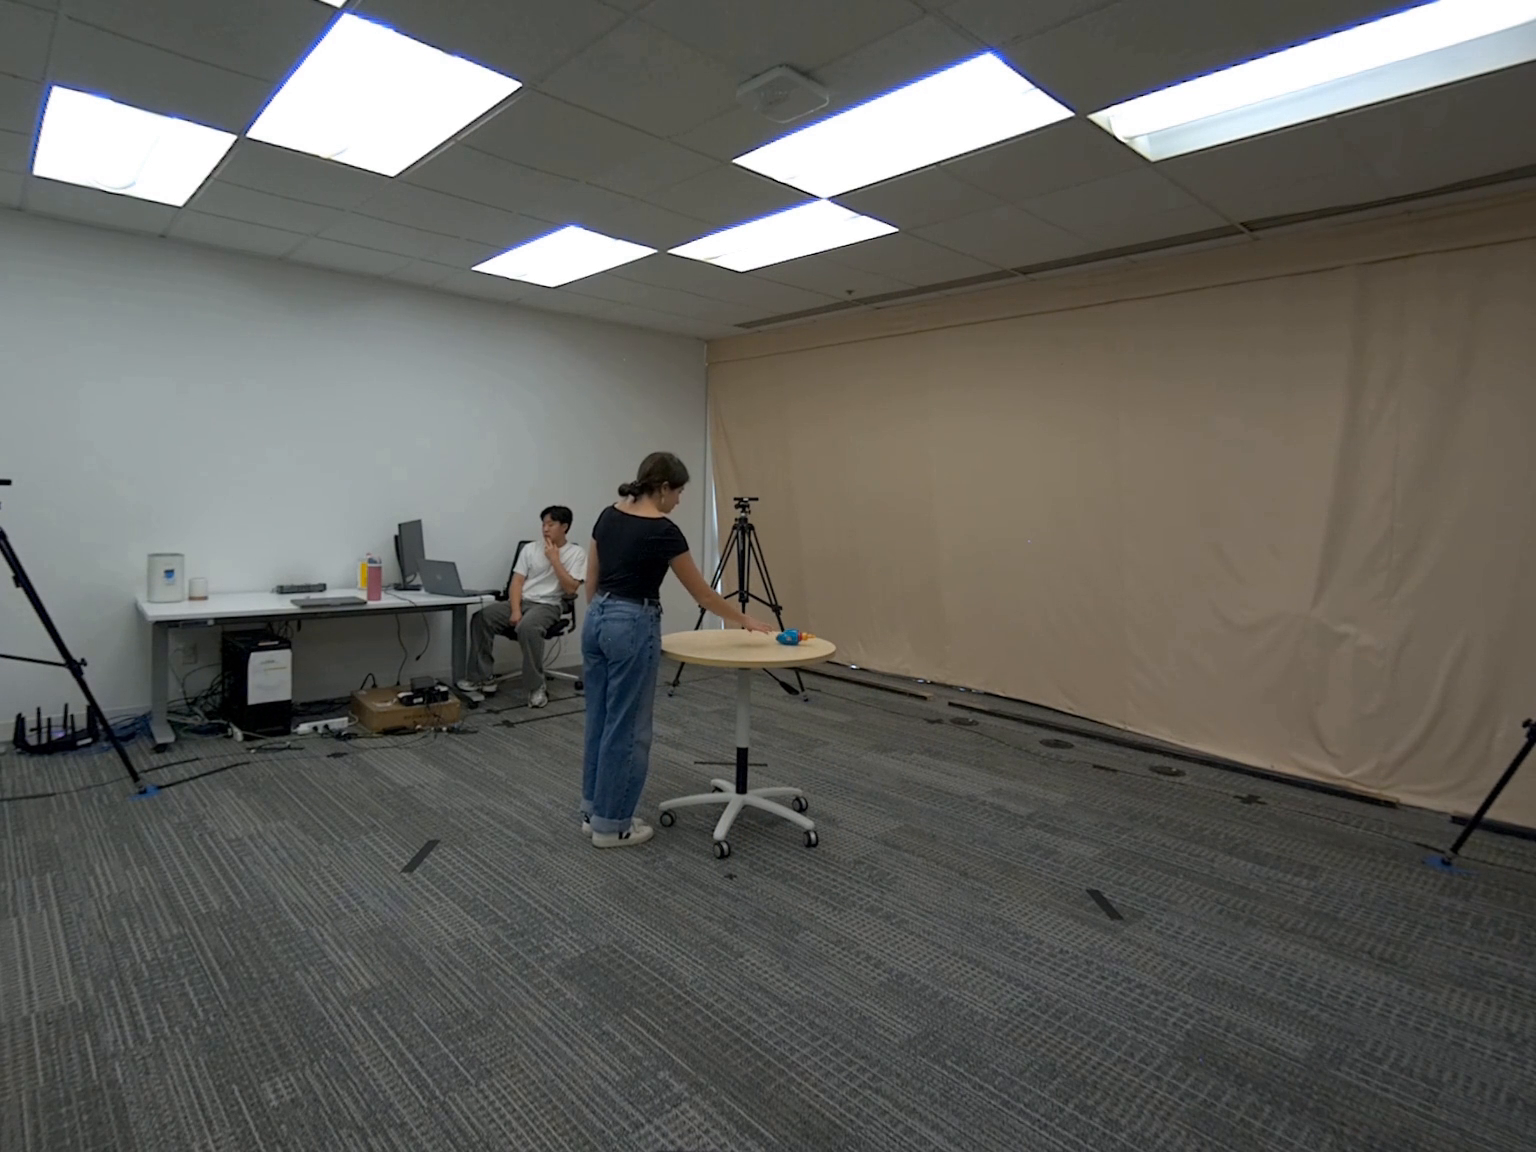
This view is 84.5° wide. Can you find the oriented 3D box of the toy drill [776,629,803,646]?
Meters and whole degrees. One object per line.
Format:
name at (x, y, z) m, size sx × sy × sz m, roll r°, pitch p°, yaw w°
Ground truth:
toy drill at (0.111, 0.259, 3.597) m, size 0.171 × 0.061 × 0.145 m, roll -6°, pitch 2°, yaw 12°
